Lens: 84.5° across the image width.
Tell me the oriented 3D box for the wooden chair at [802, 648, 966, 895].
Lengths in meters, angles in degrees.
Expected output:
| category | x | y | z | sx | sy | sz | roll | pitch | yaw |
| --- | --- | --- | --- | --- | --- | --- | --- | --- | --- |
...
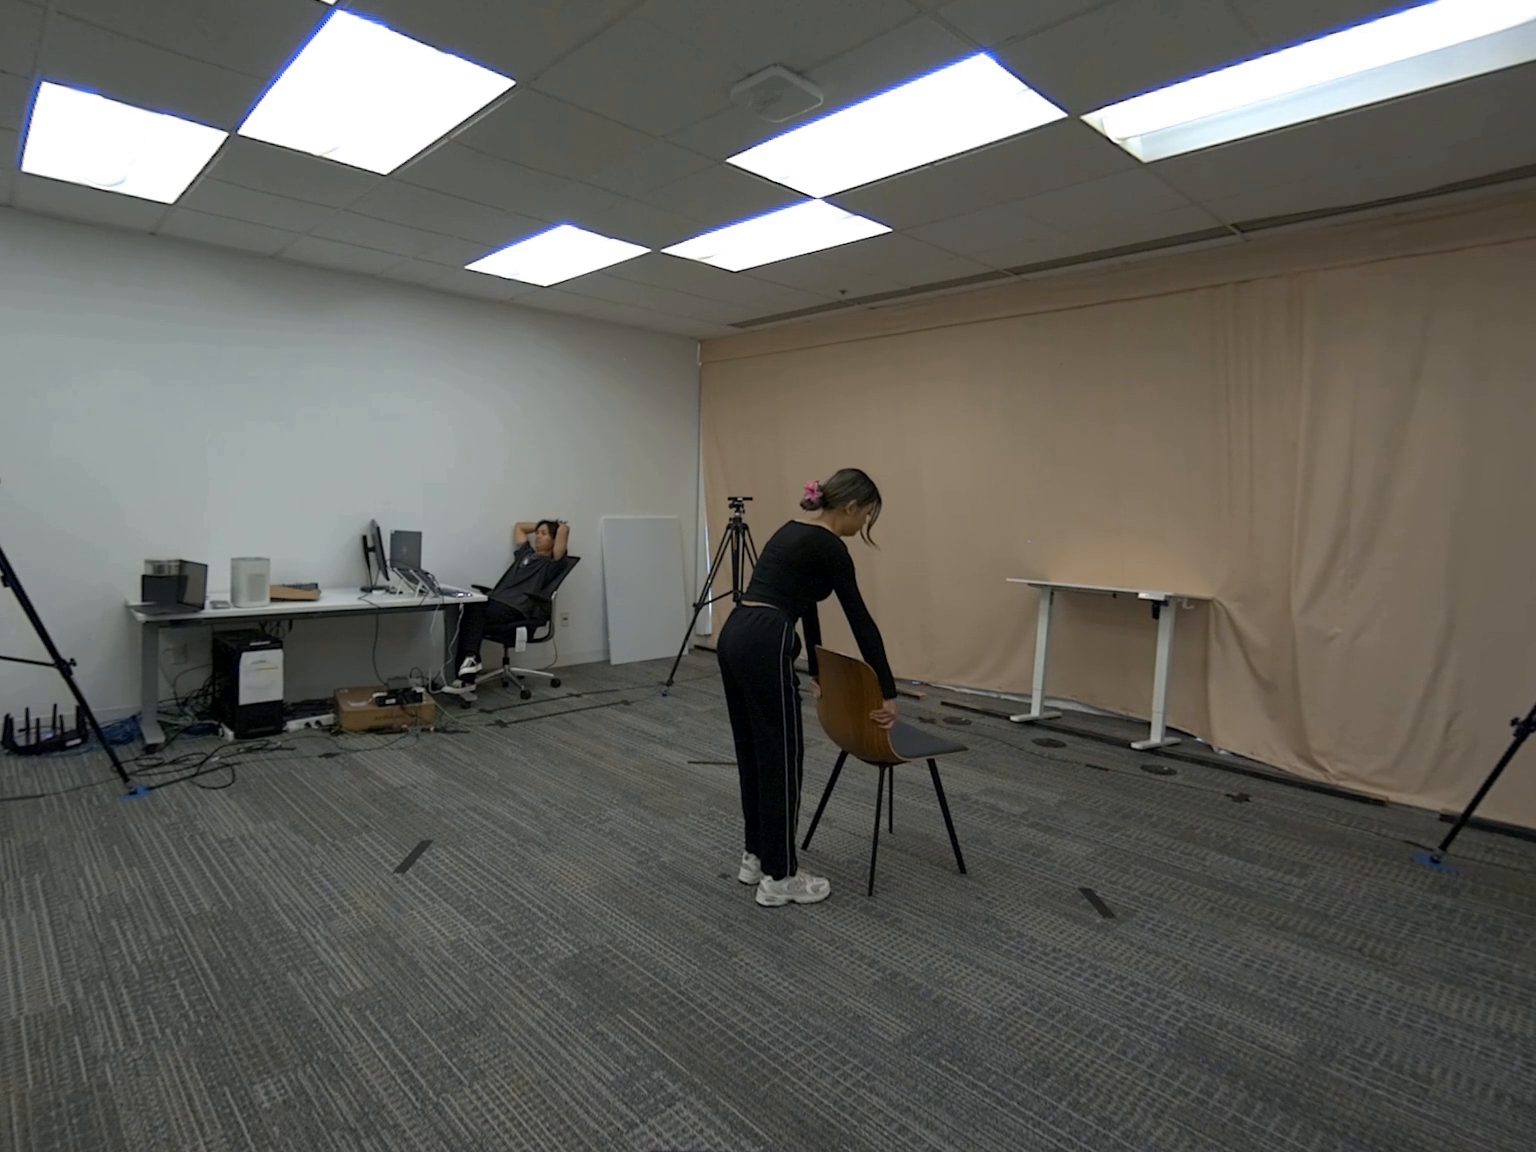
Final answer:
| category | x | y | z | sx | sy | sz | roll | pitch | yaw |
| --- | --- | --- | --- | --- | --- | --- | --- | --- | --- |
| wooden chair | 0.453 | 0.682 | 3.247 | 0.514 | 0.874 | 0.488 | -5 | 6 | -28 |
